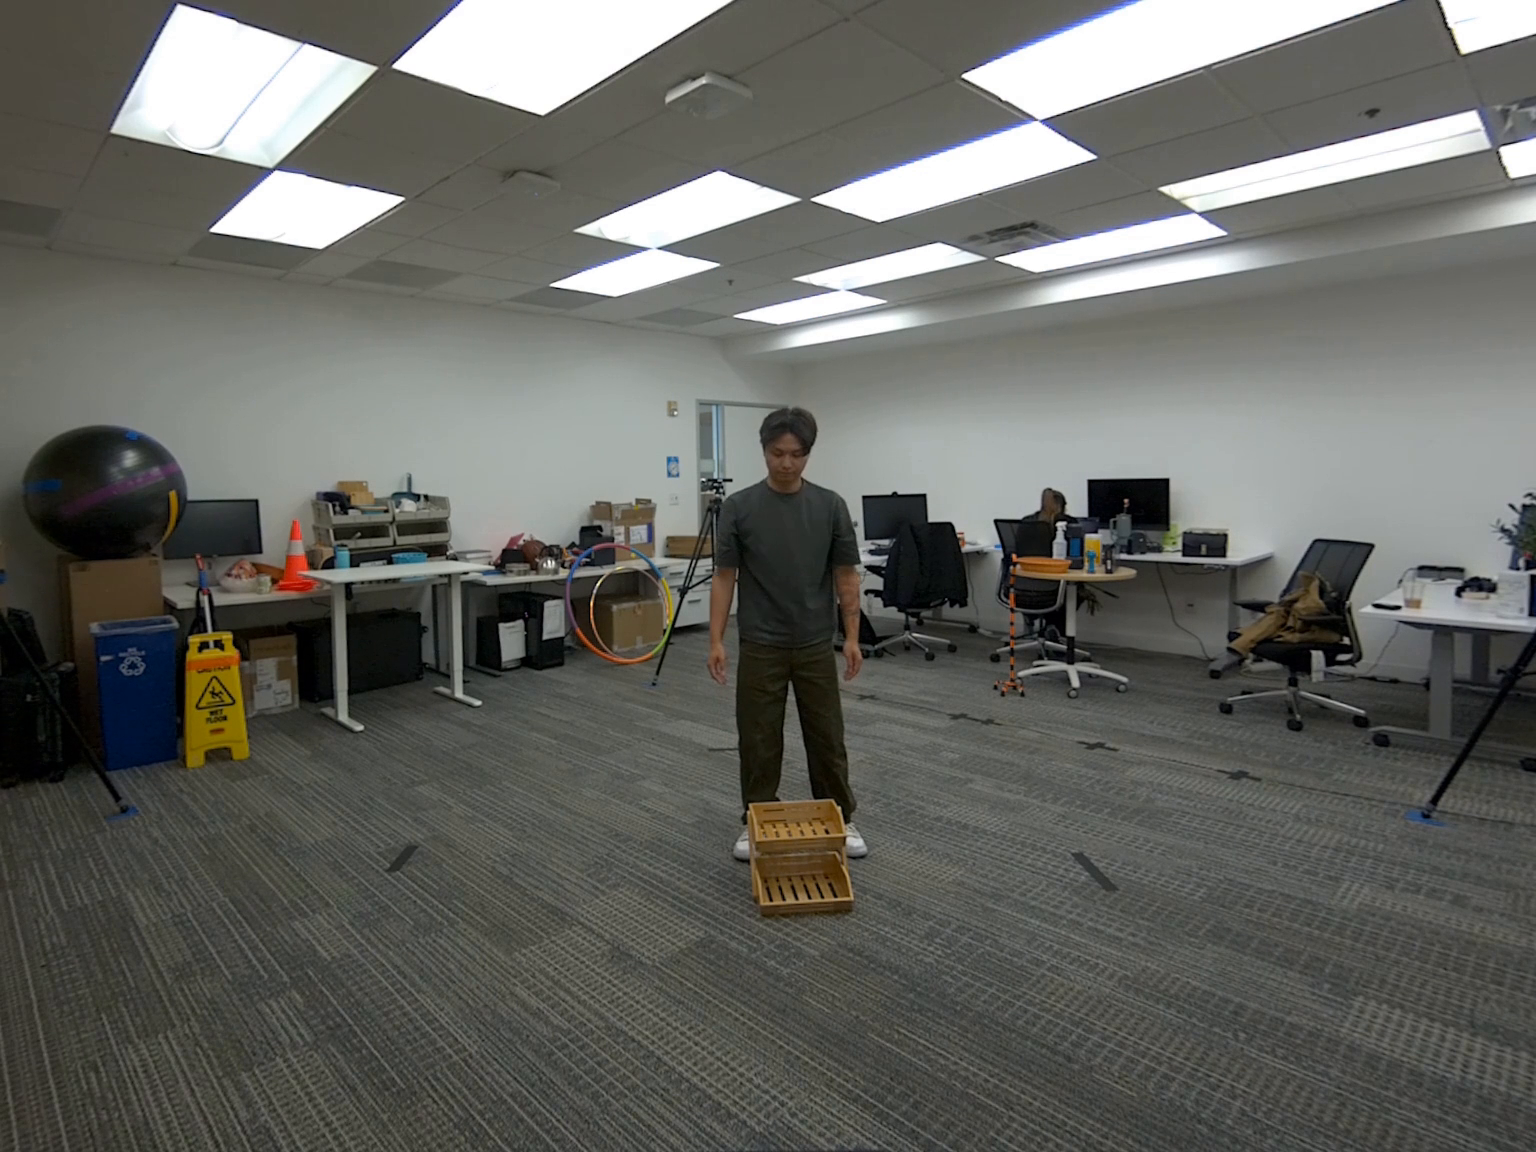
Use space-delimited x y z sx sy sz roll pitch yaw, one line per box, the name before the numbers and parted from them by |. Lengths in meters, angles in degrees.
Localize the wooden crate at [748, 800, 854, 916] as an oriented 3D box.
wooden crate | 0.105 0.941 2.858 0.323 0.272 0.305 -2 5 -6
